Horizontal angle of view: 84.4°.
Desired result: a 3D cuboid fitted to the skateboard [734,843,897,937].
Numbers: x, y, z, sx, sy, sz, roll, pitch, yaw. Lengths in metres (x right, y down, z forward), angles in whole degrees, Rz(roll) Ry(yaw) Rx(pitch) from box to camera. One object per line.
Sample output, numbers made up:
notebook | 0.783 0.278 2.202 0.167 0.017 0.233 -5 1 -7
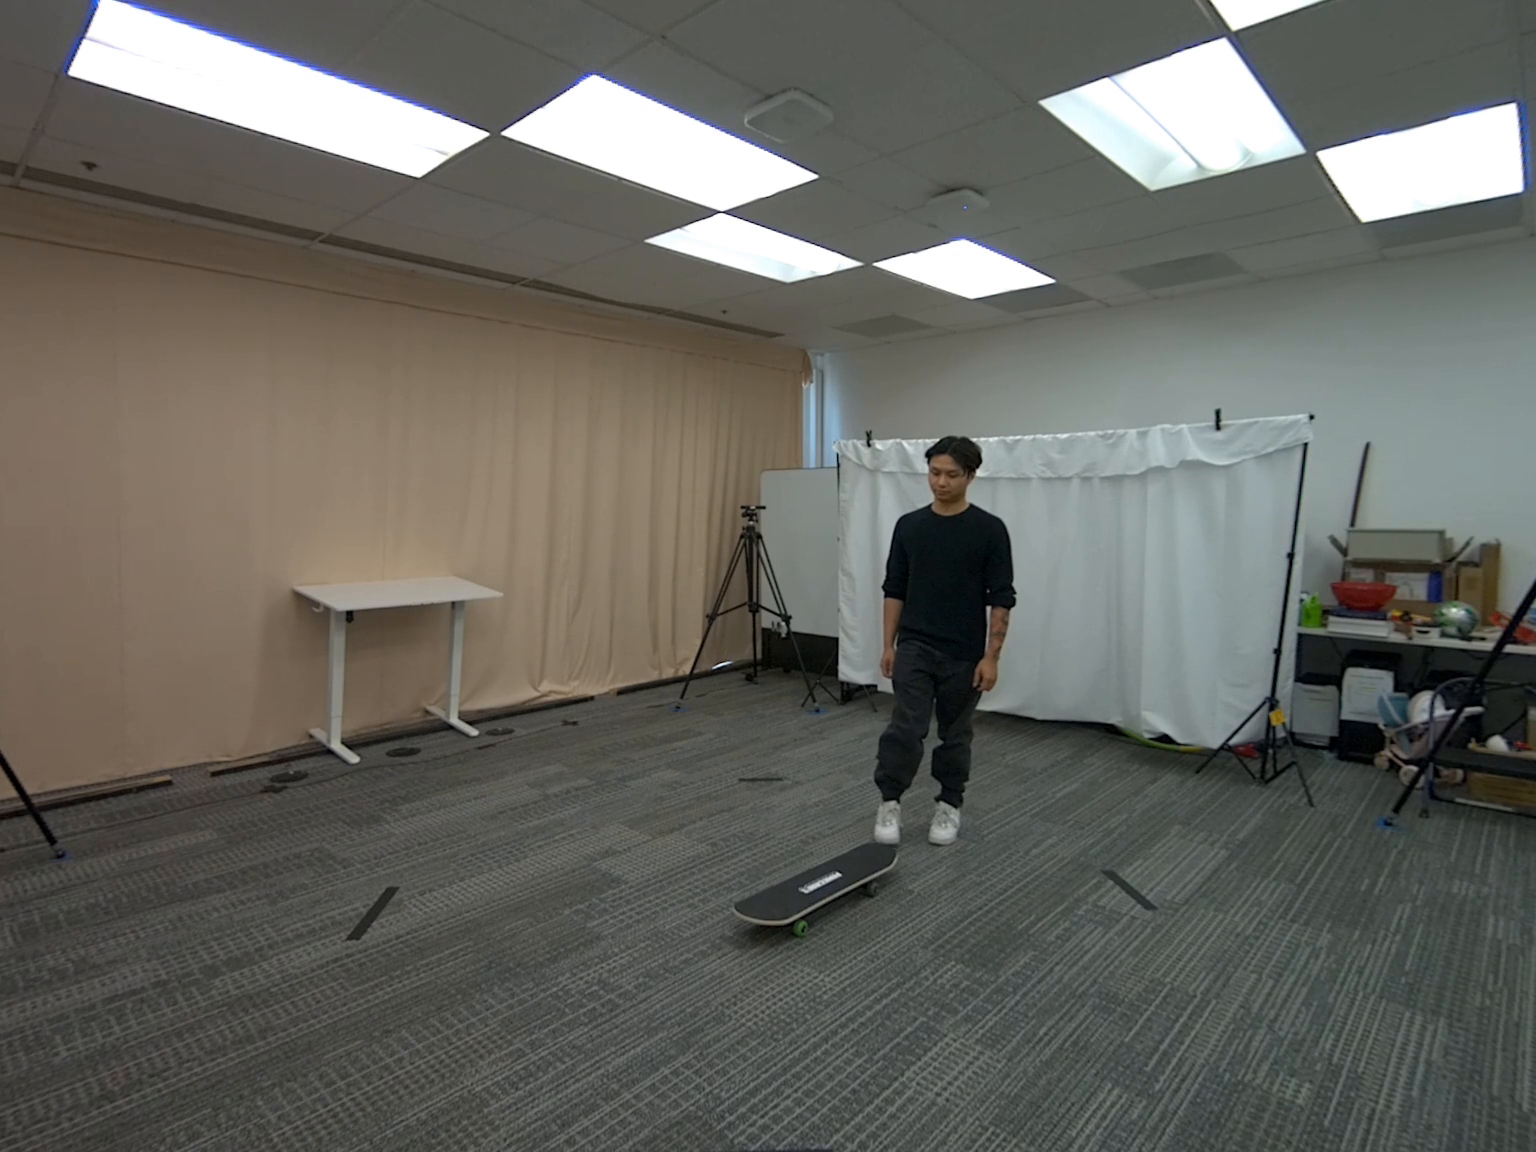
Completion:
skateboard | 0.184 1.092 2.915 0.200 0.110 0.761 3 6 45
